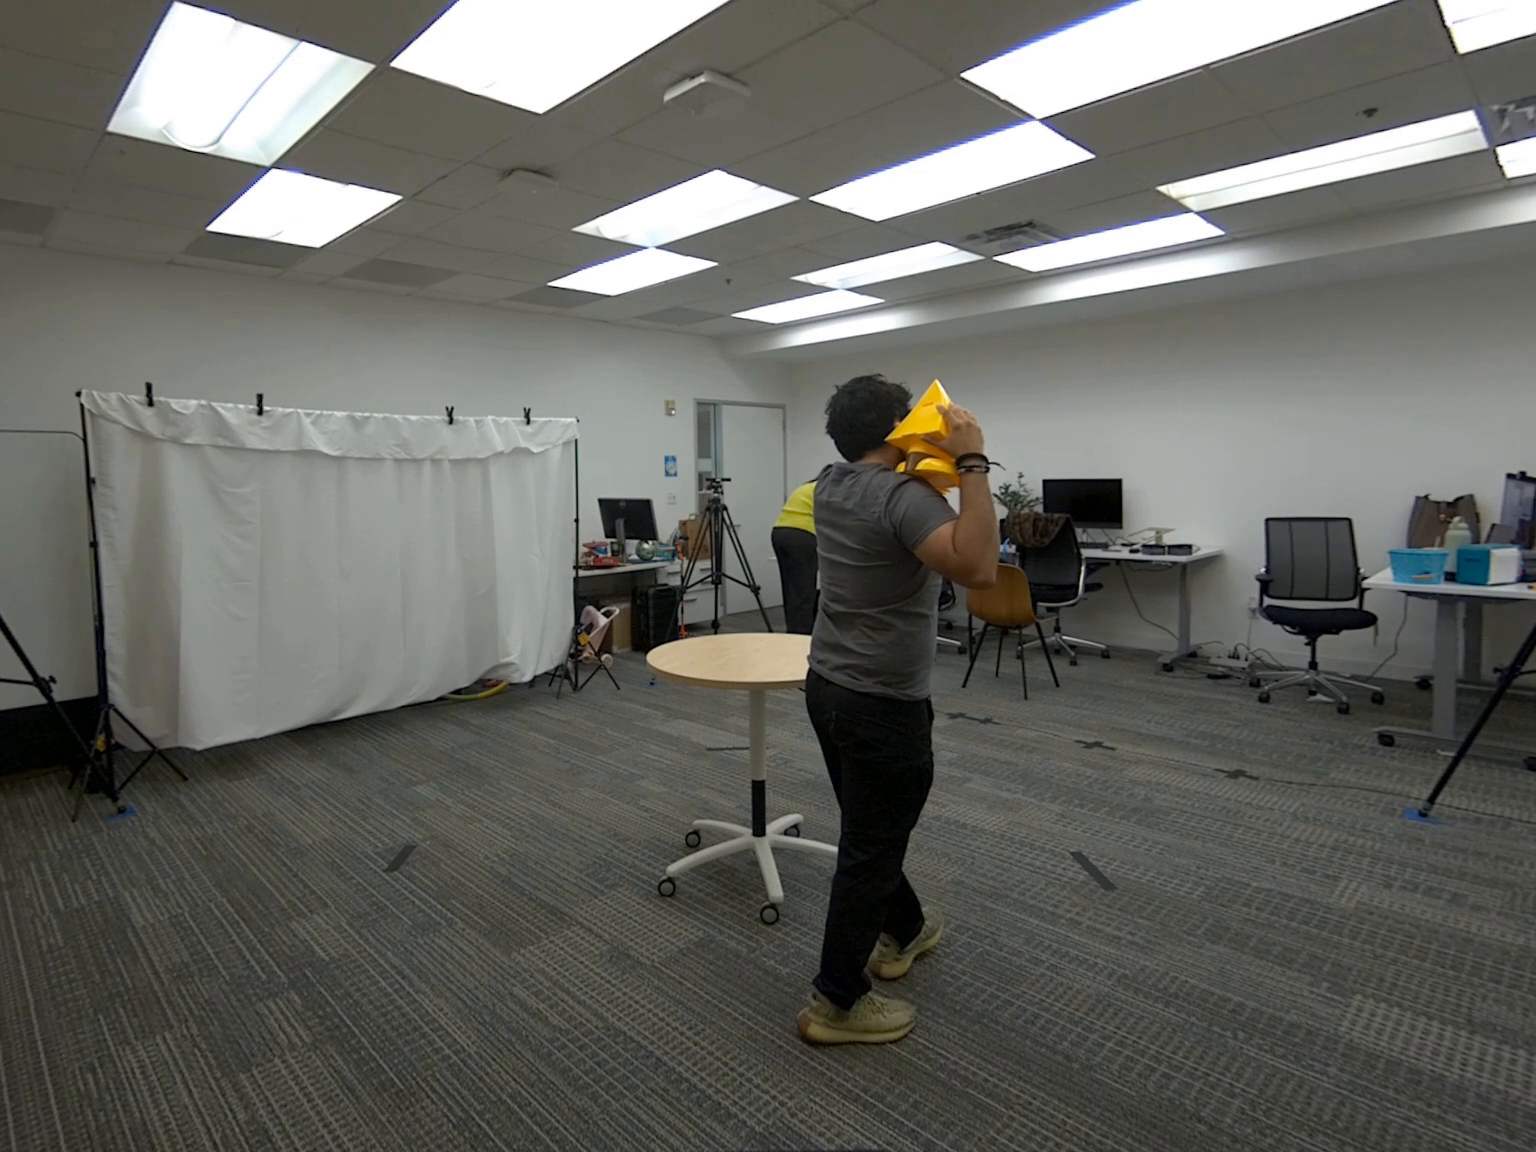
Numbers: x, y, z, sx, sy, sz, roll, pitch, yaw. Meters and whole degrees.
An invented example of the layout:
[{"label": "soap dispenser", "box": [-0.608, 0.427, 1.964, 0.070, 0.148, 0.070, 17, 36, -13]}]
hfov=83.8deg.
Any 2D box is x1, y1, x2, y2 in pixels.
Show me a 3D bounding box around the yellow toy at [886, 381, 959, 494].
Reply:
[{"label": "yellow toy", "box": [0.407, -0.333, 2.013, 0.188, 0.232, 0.209, 19, -8, -24]}]
